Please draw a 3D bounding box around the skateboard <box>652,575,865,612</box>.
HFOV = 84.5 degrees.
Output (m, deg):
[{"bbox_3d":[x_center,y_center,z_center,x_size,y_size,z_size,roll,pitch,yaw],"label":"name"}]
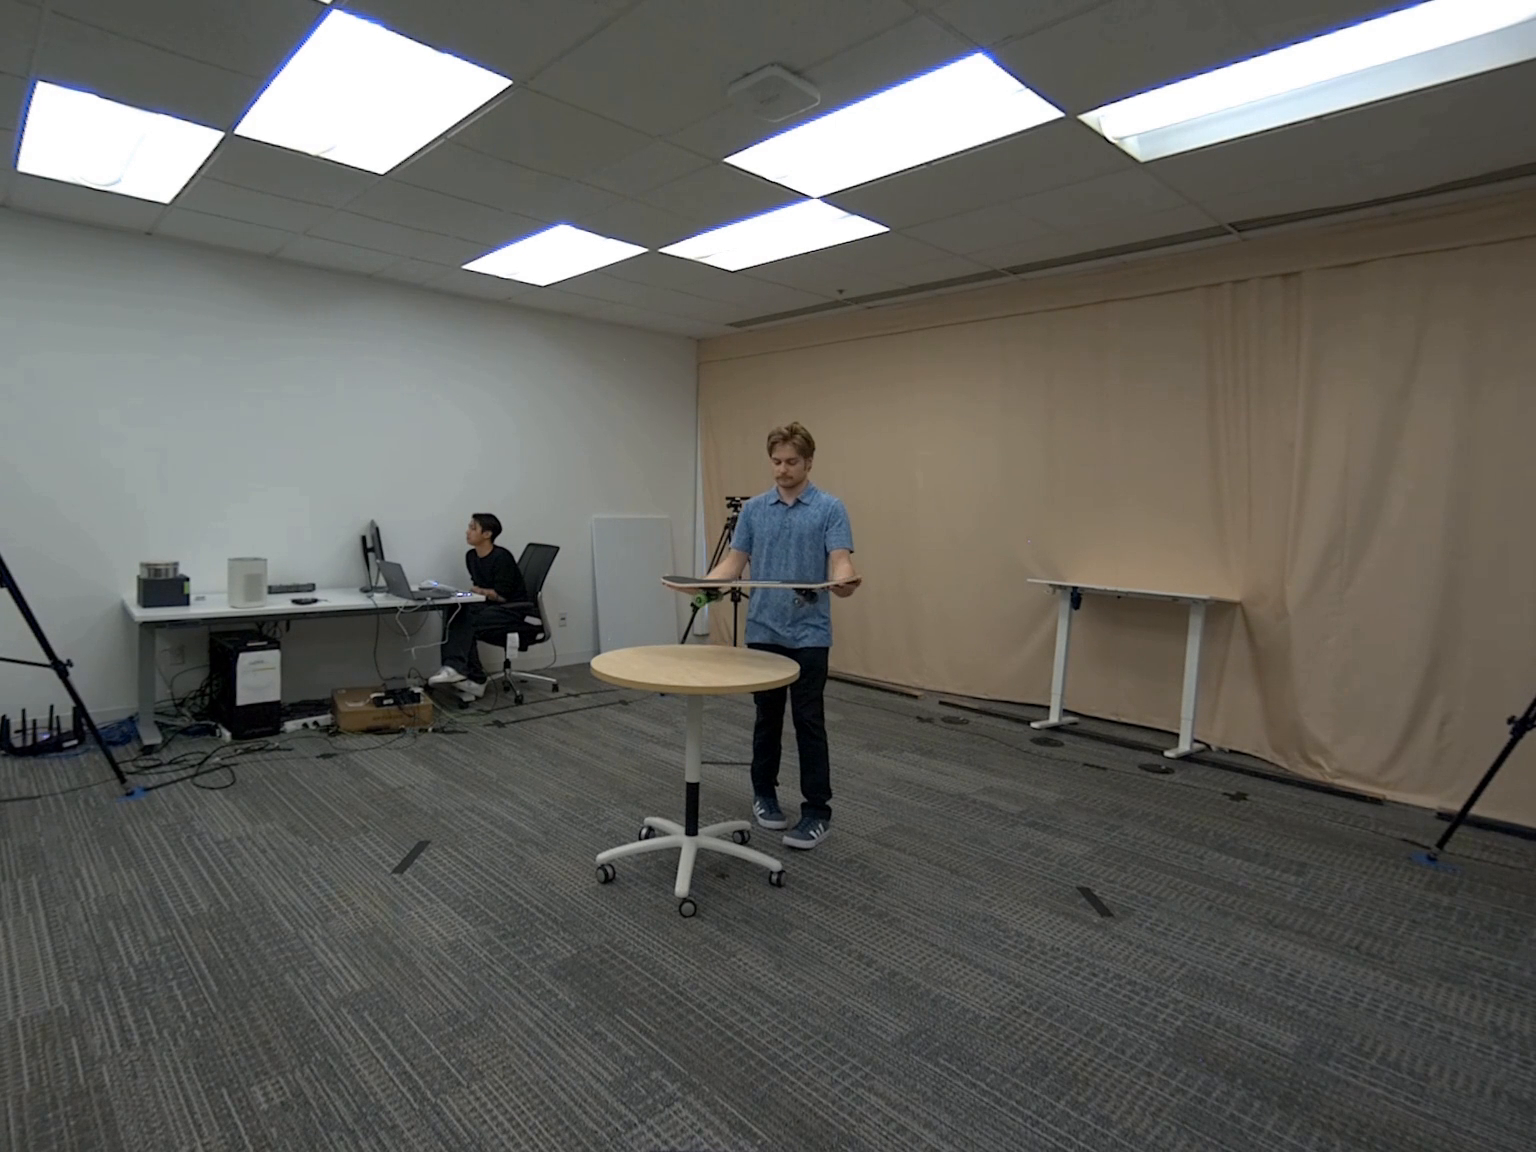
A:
[{"bbox_3d":[-0.048,0.059,3.206,0.800,0.110,0.190,0,3,25],"label":"skateboard"}]
